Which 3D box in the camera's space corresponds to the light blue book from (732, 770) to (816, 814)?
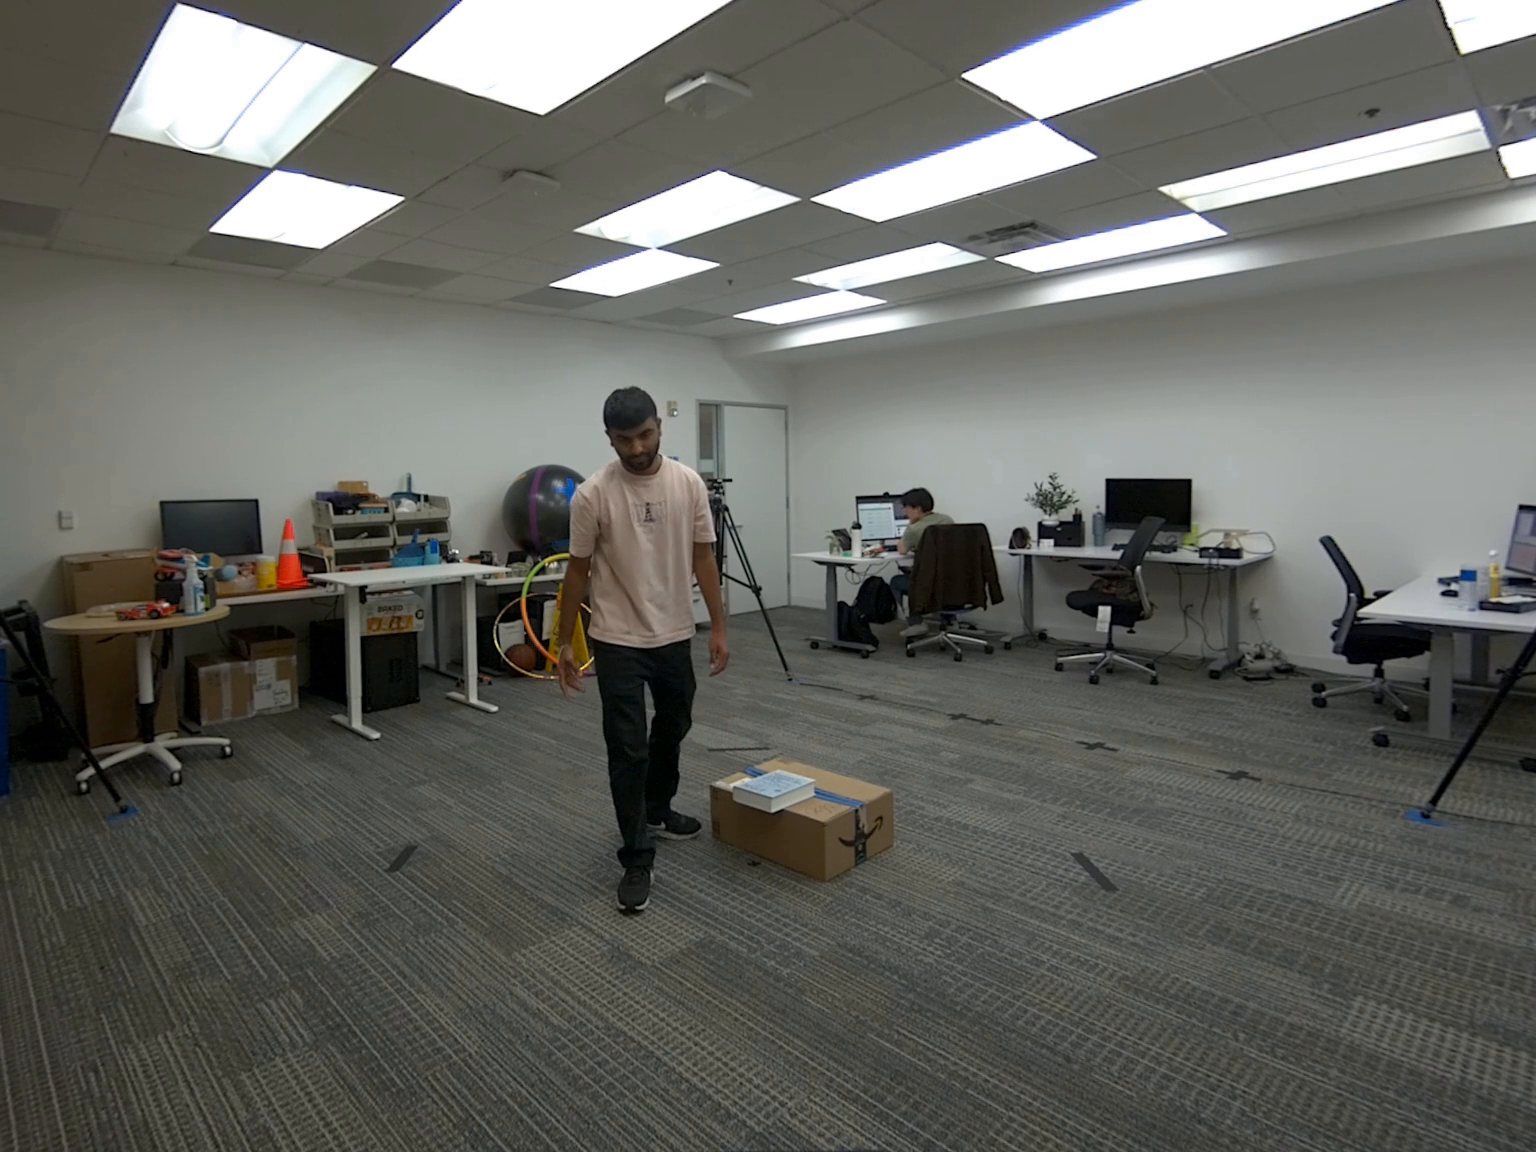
[{"bbox_3d":[0.034,0.796,3.172,0.197,0.059,0.254,4,6,41],"label":"light blue book"}]
